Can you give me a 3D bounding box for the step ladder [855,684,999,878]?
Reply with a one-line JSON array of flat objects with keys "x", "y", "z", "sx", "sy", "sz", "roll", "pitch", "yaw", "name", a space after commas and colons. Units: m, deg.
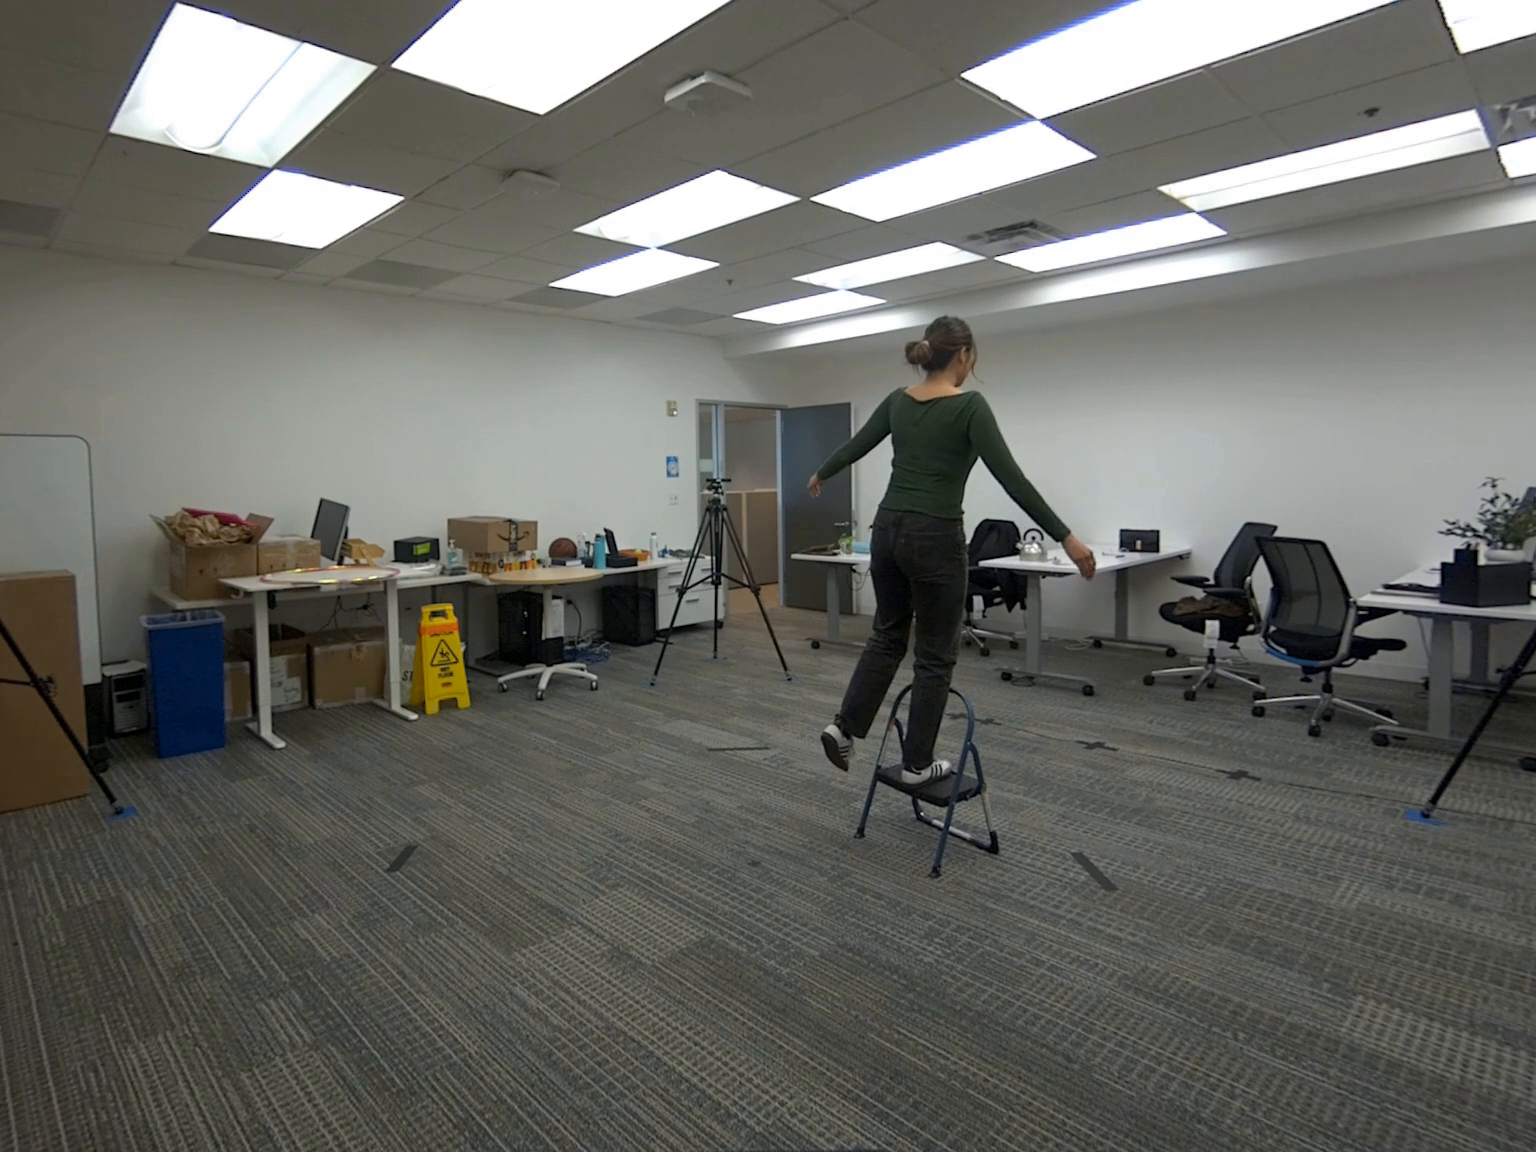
[{"x": 0.595, "y": 0.719, "z": 3.216, "sx": 0.340, "sy": 0.604, "sz": 0.443, "roll": -4, "pitch": 5, "yaw": -34, "name": "step ladder"}]
